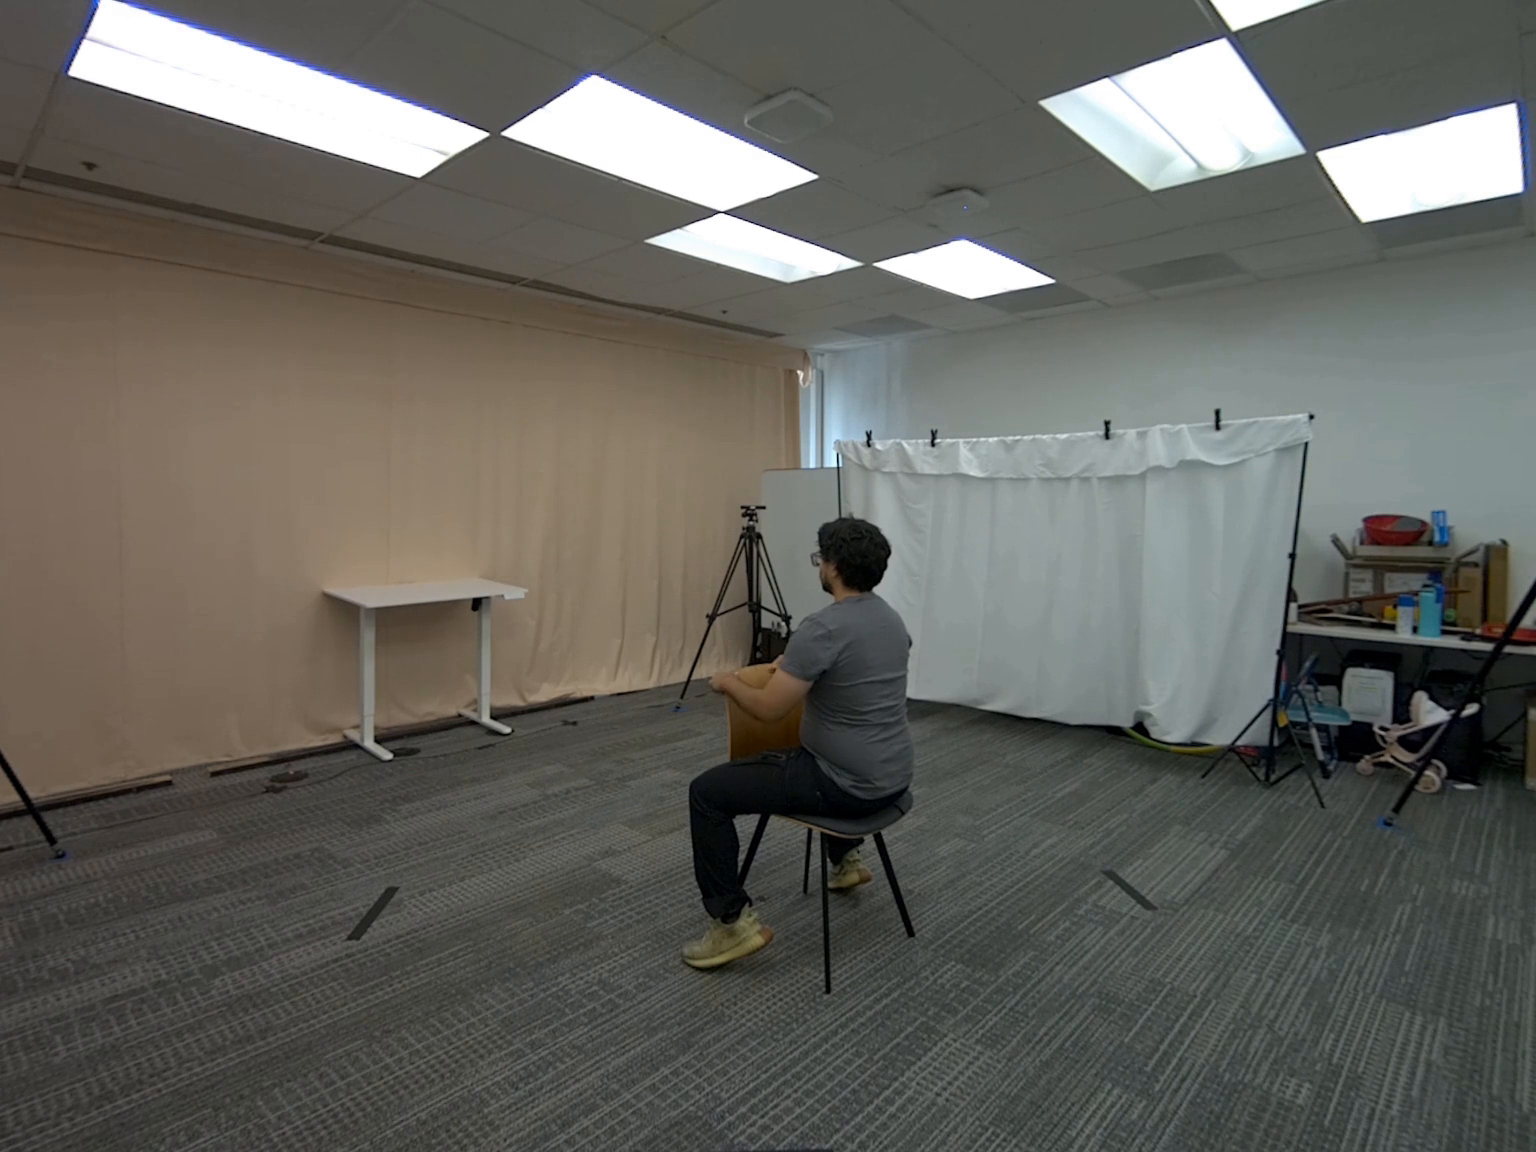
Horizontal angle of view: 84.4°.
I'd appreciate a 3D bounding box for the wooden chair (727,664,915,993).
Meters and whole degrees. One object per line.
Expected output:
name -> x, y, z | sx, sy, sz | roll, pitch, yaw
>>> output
wooden chair -> 0.164, 0.743, 2.685 | 0.539, 0.877, 0.463 | -3, 0, 44
